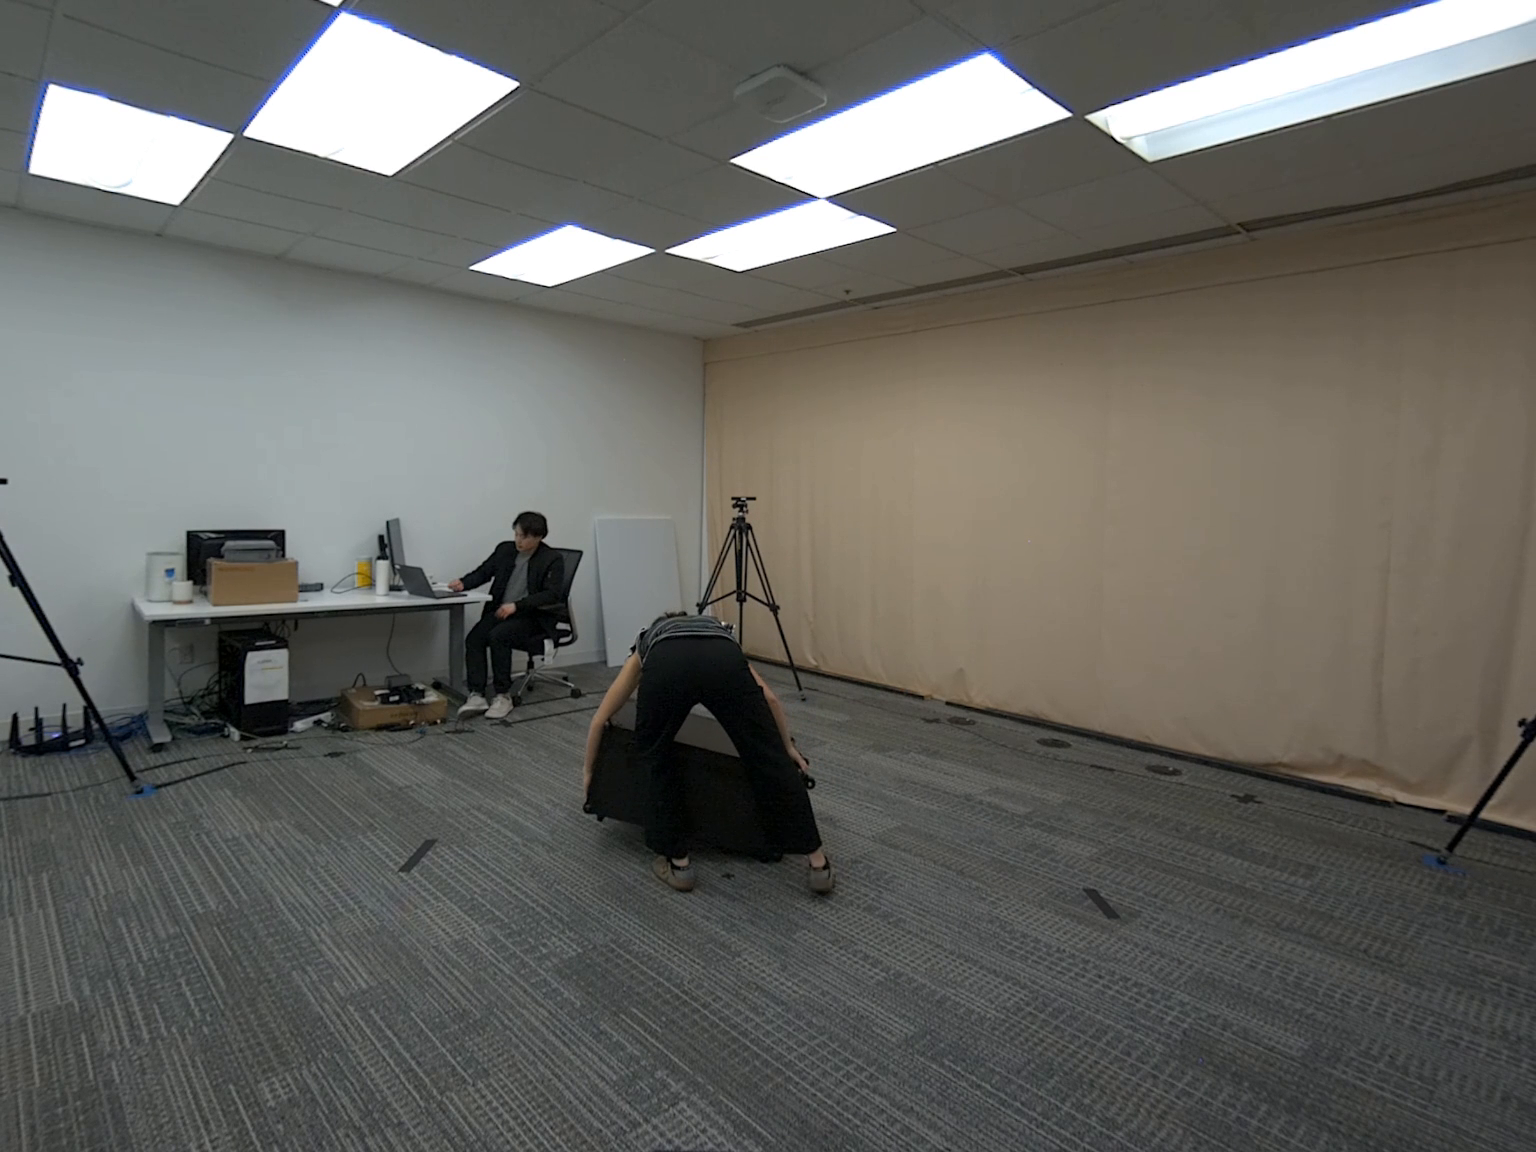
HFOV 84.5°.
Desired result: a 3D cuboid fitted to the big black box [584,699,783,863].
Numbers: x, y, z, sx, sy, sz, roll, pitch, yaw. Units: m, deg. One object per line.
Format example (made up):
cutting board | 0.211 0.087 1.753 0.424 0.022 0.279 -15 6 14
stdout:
big black box | -0.272 0.824 3.447 0.861 0.396 0.522 14 2 -1
